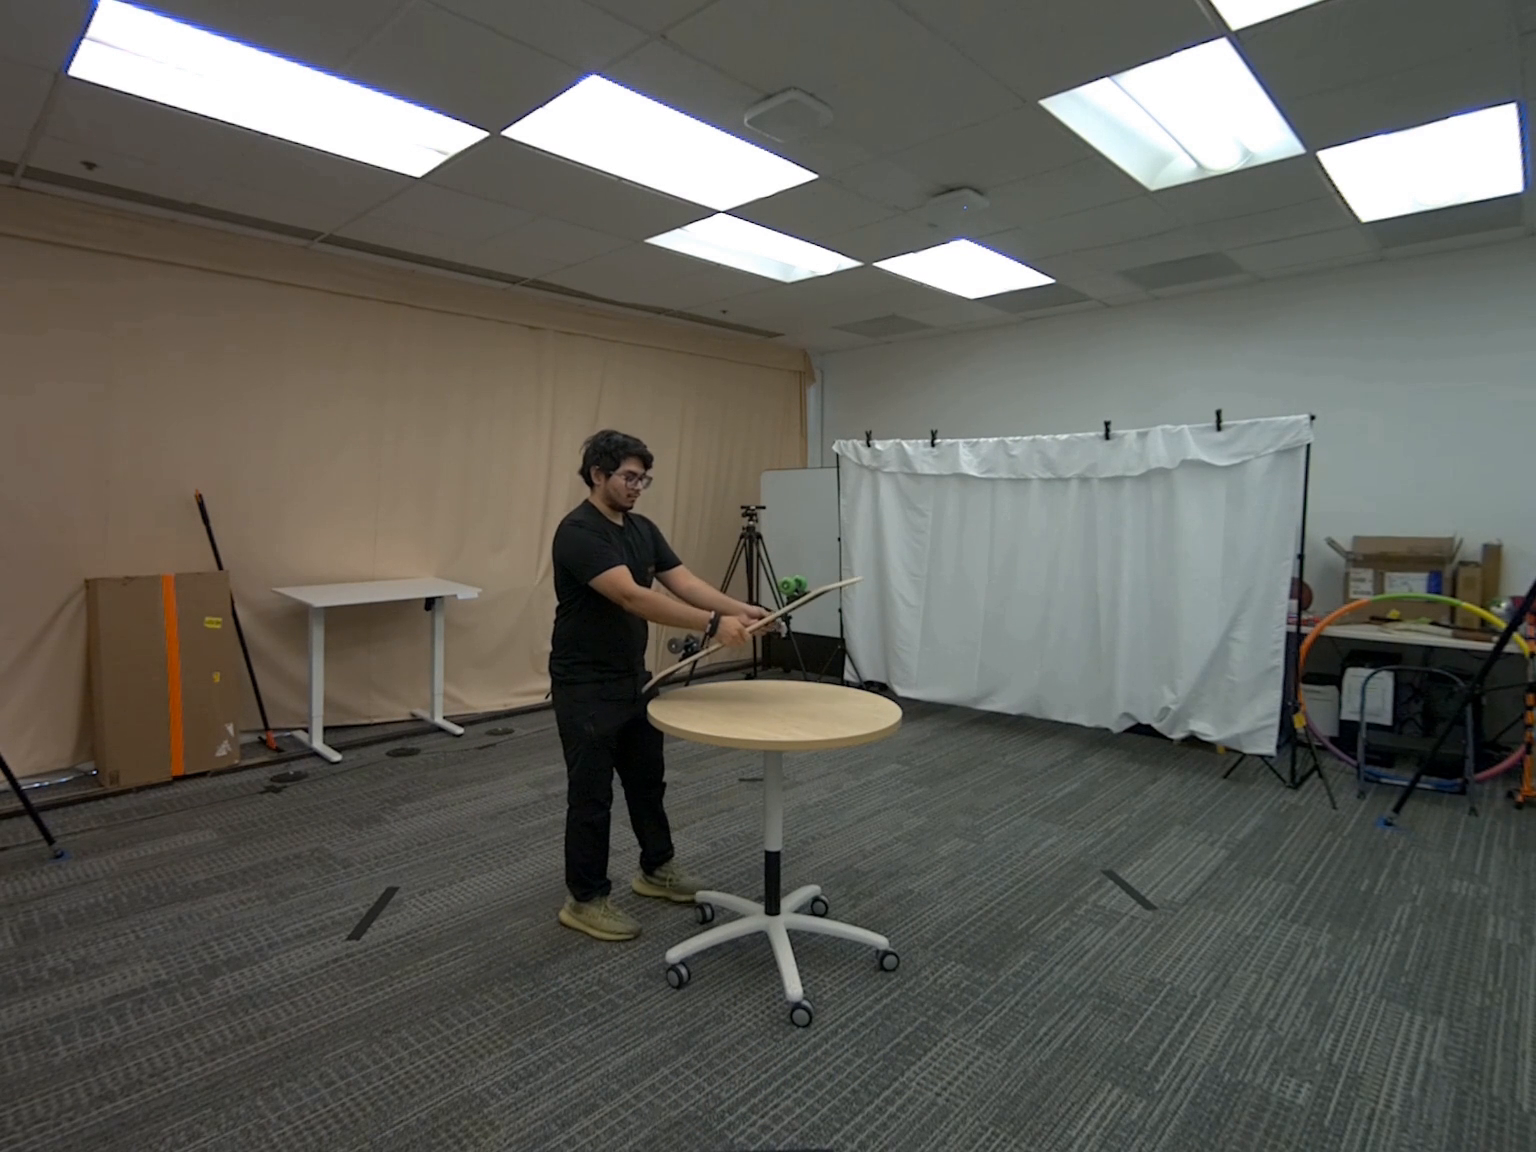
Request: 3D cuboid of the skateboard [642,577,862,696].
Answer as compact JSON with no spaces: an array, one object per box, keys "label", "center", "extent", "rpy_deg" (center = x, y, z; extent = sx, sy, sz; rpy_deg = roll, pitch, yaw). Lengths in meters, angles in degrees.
[{"label":"skateboard","center":[-0.082,0.156,2.594],"extent":[0.792,0.111,0.190],"rpy_deg":[-30,-7,14]}]
